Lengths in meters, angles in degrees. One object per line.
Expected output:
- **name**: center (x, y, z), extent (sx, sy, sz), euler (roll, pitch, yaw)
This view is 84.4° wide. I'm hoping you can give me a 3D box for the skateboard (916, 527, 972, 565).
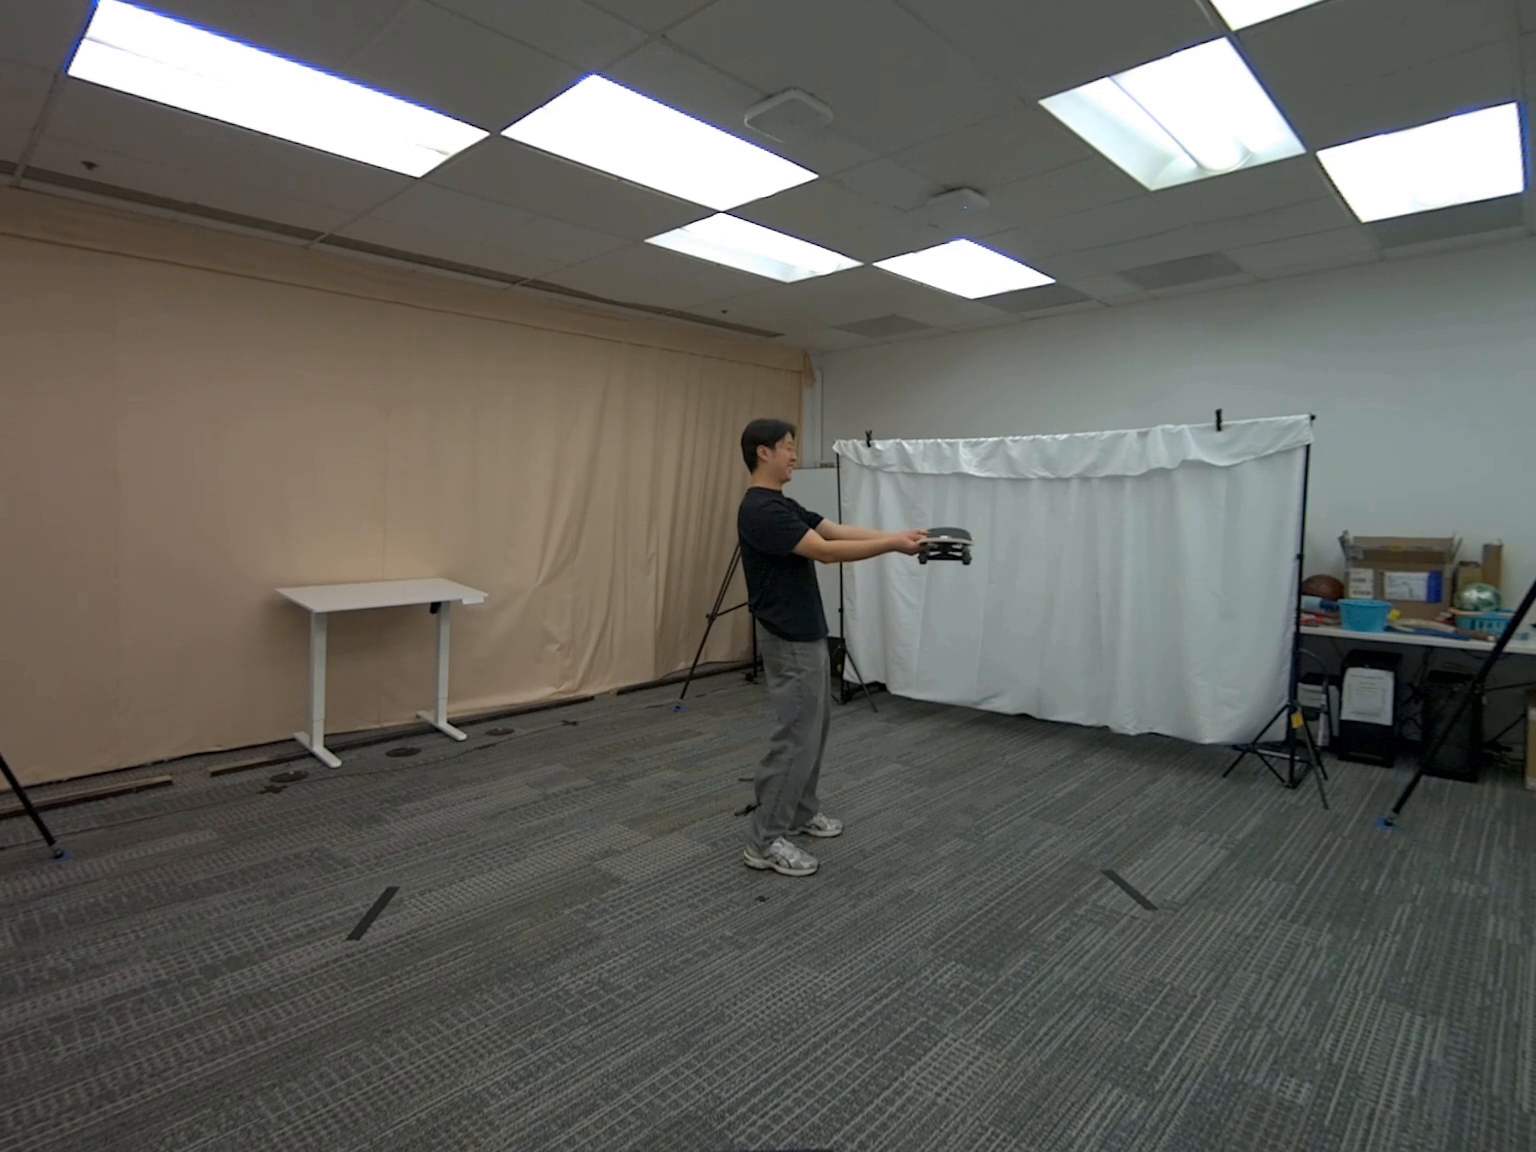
- **skateboard**: center (0.699, -0.114, 3.272), extent (0.196, 0.110, 0.777), euler (3, 8, 12)
